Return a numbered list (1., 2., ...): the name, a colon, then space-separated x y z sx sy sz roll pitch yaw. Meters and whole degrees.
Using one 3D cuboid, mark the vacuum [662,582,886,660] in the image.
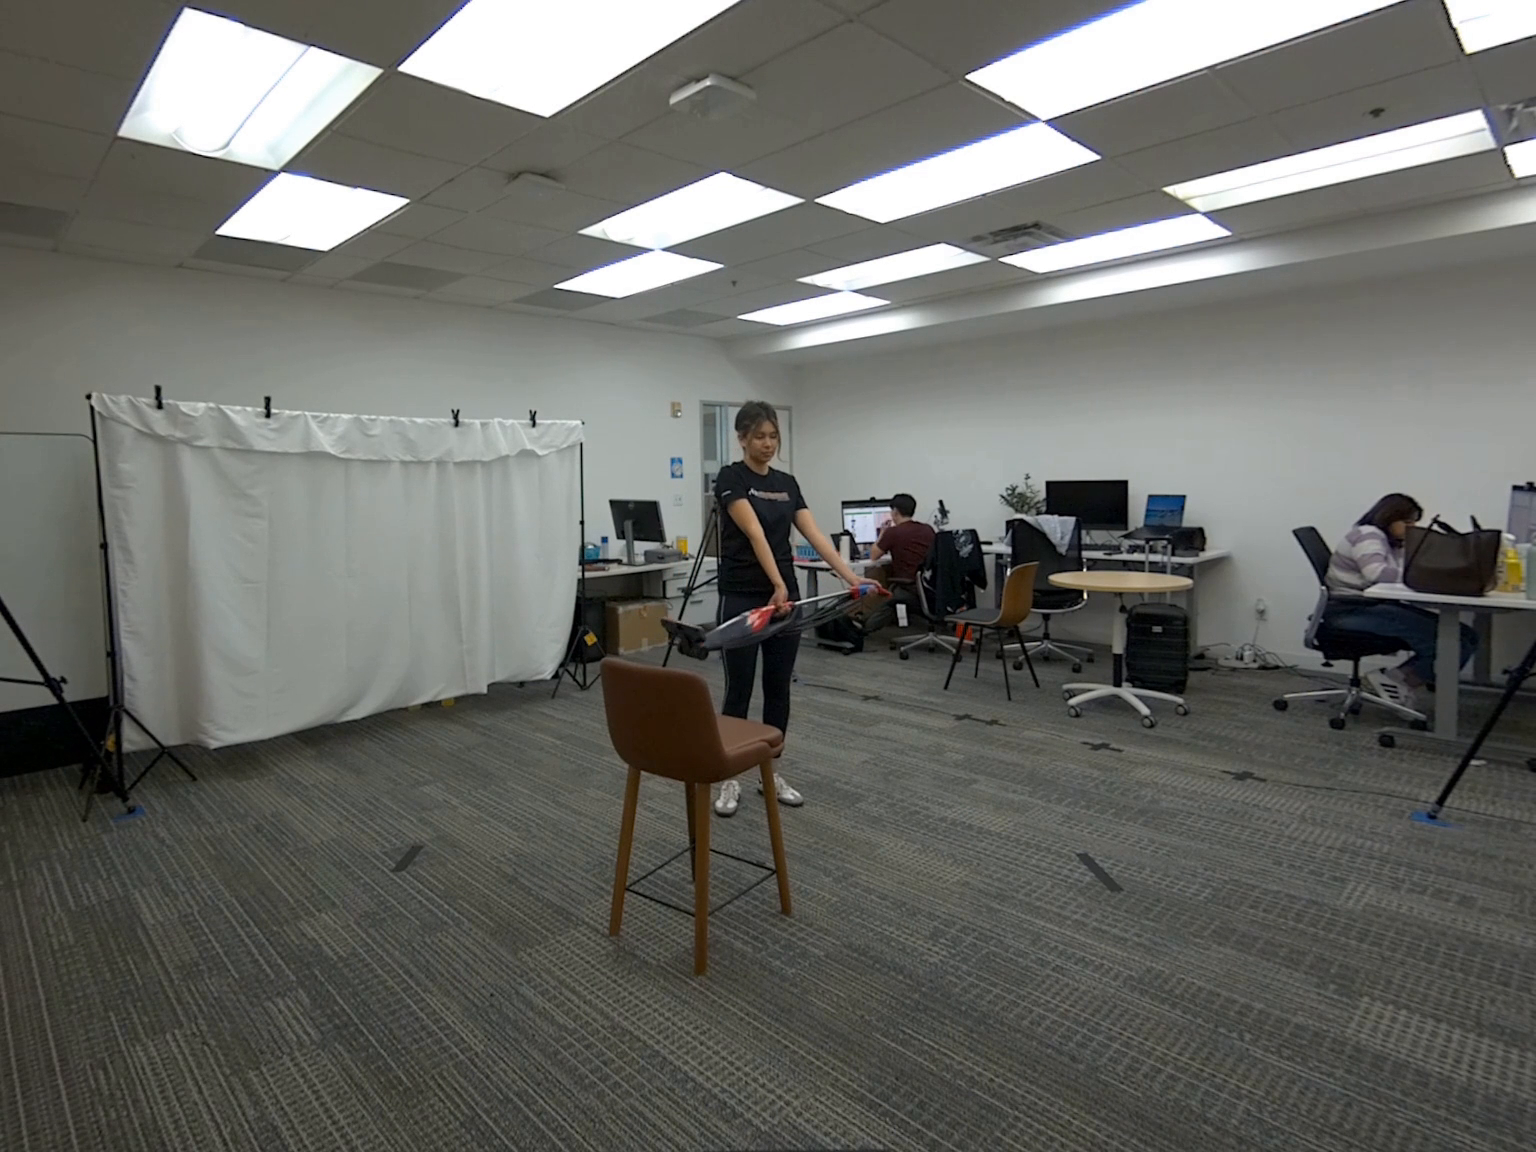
1. vacuum: 0.114 0.166 3.329 1.026 0.143 0.260 -10 9 -34
